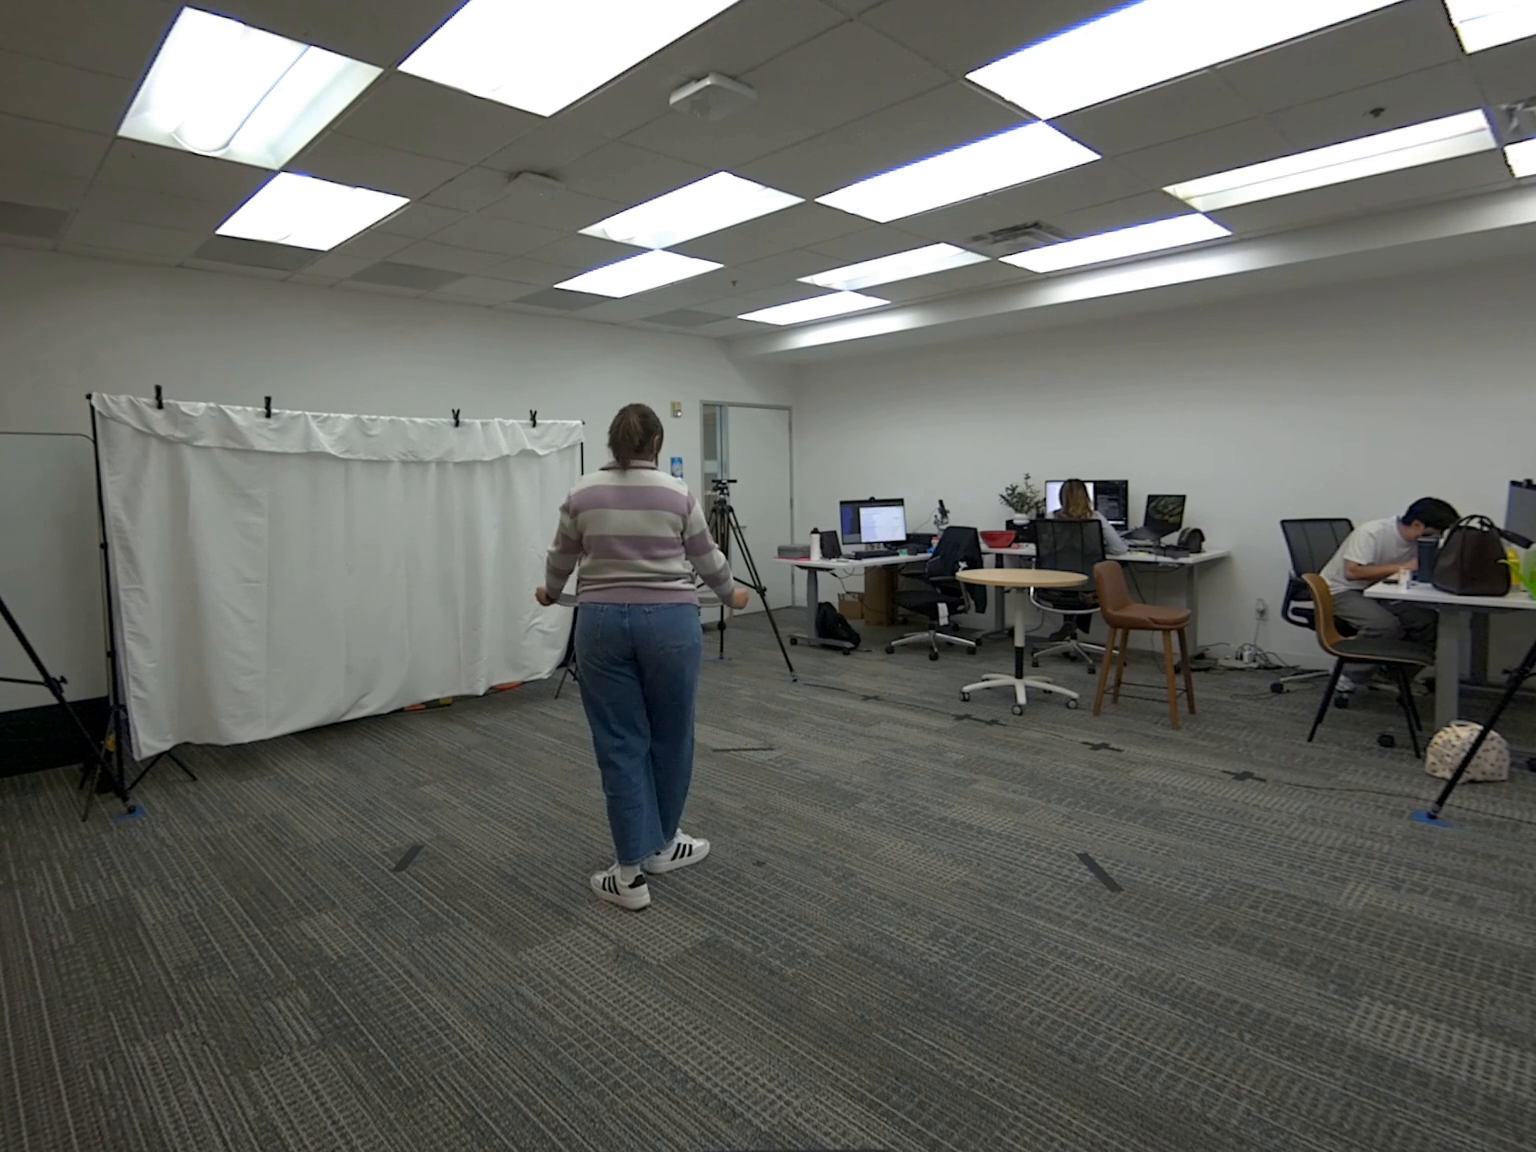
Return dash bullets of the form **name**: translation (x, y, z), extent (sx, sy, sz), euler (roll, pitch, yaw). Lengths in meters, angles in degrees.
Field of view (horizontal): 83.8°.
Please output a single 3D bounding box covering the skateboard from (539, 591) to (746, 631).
- **skateboard**: translation (-0.485, 0.134, 3.364), extent (0.785, 0.110, 0.194), euler (1, 7, 0)
